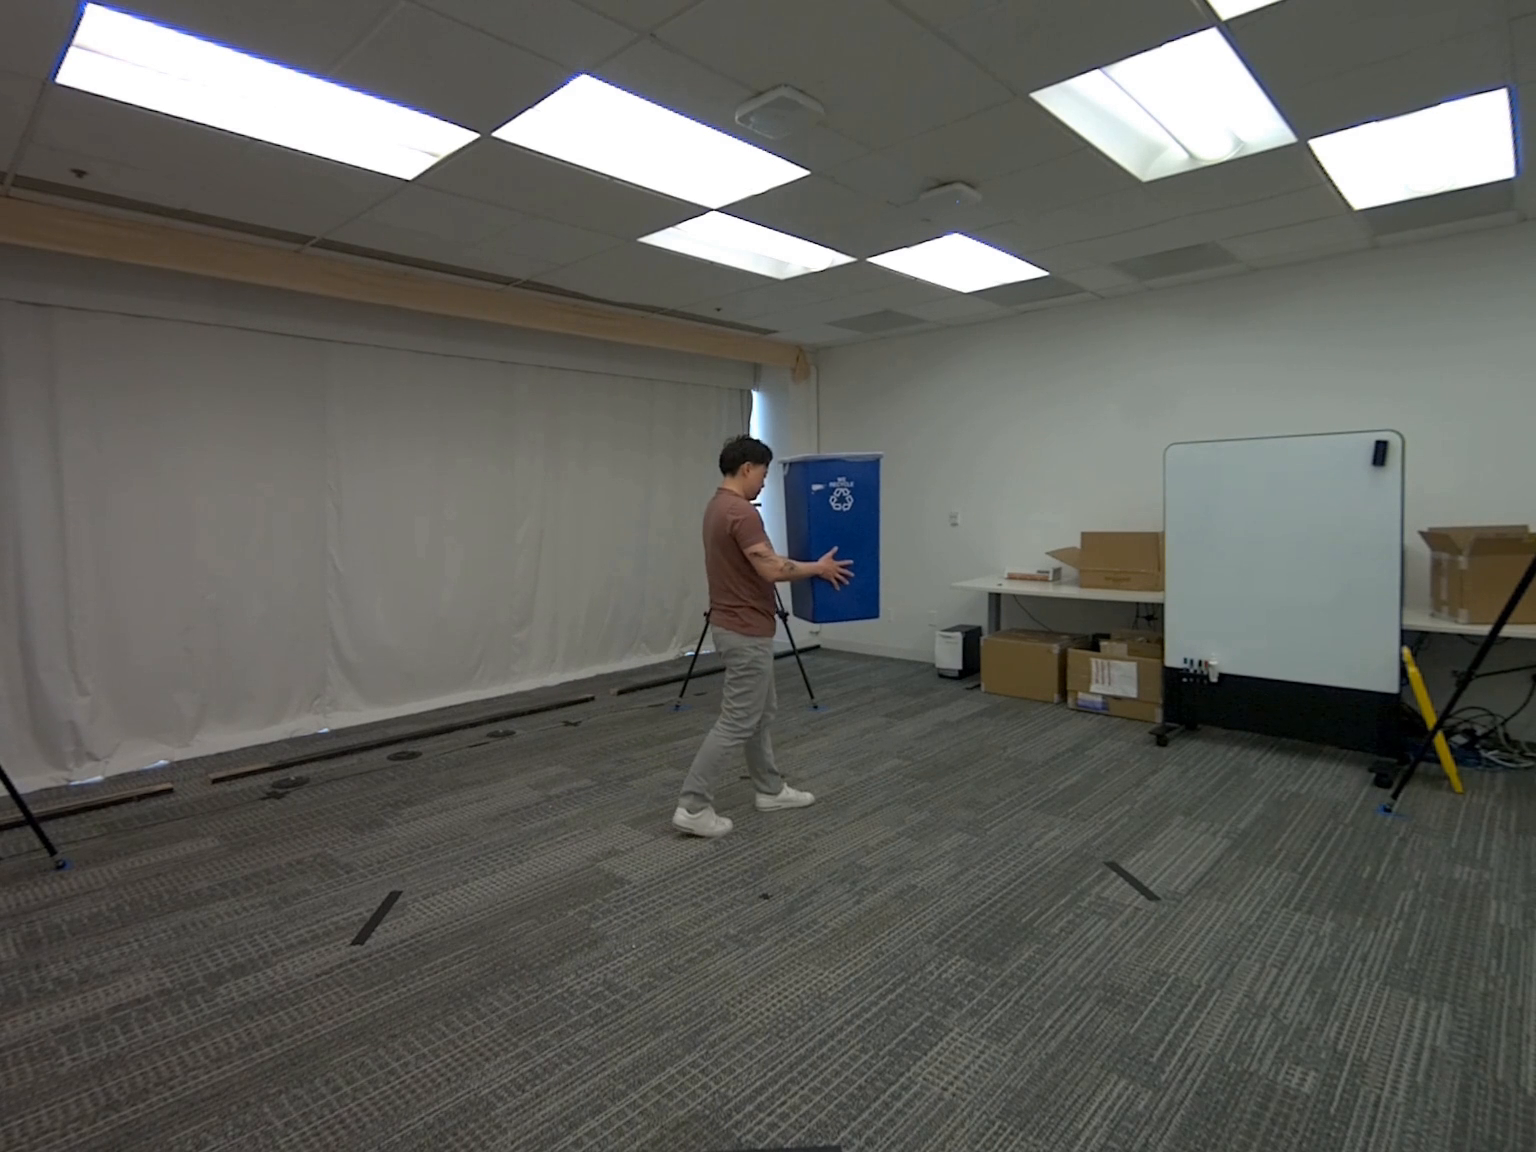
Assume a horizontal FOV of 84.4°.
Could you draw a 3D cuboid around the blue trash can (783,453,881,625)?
[{"bbox_3d":[0.289,-0.181,3.720,0.368,0.711,0.385,-4,5,-16],"label":"blue trash can"}]
